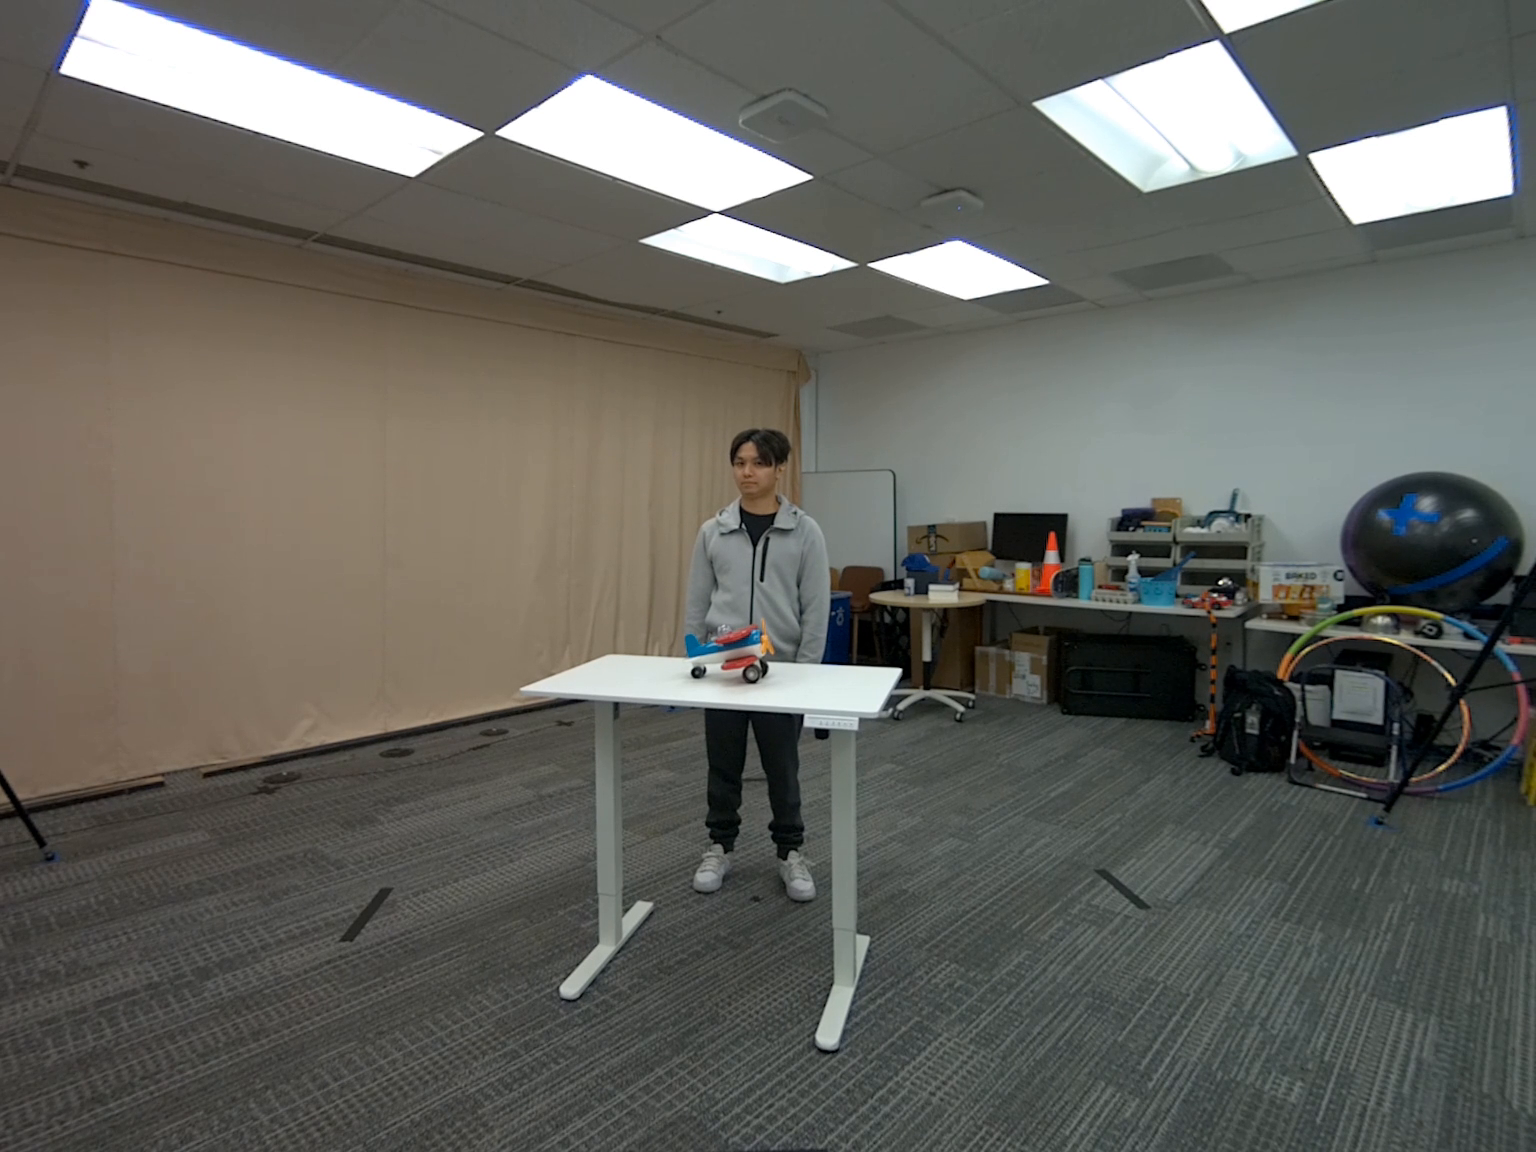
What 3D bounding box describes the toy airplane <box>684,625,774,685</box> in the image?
[{"bbox_3d":[-0.126,0.231,2.461,0.256,0.156,0.255,-1,4,-12],"label":"toy airplane"}]
